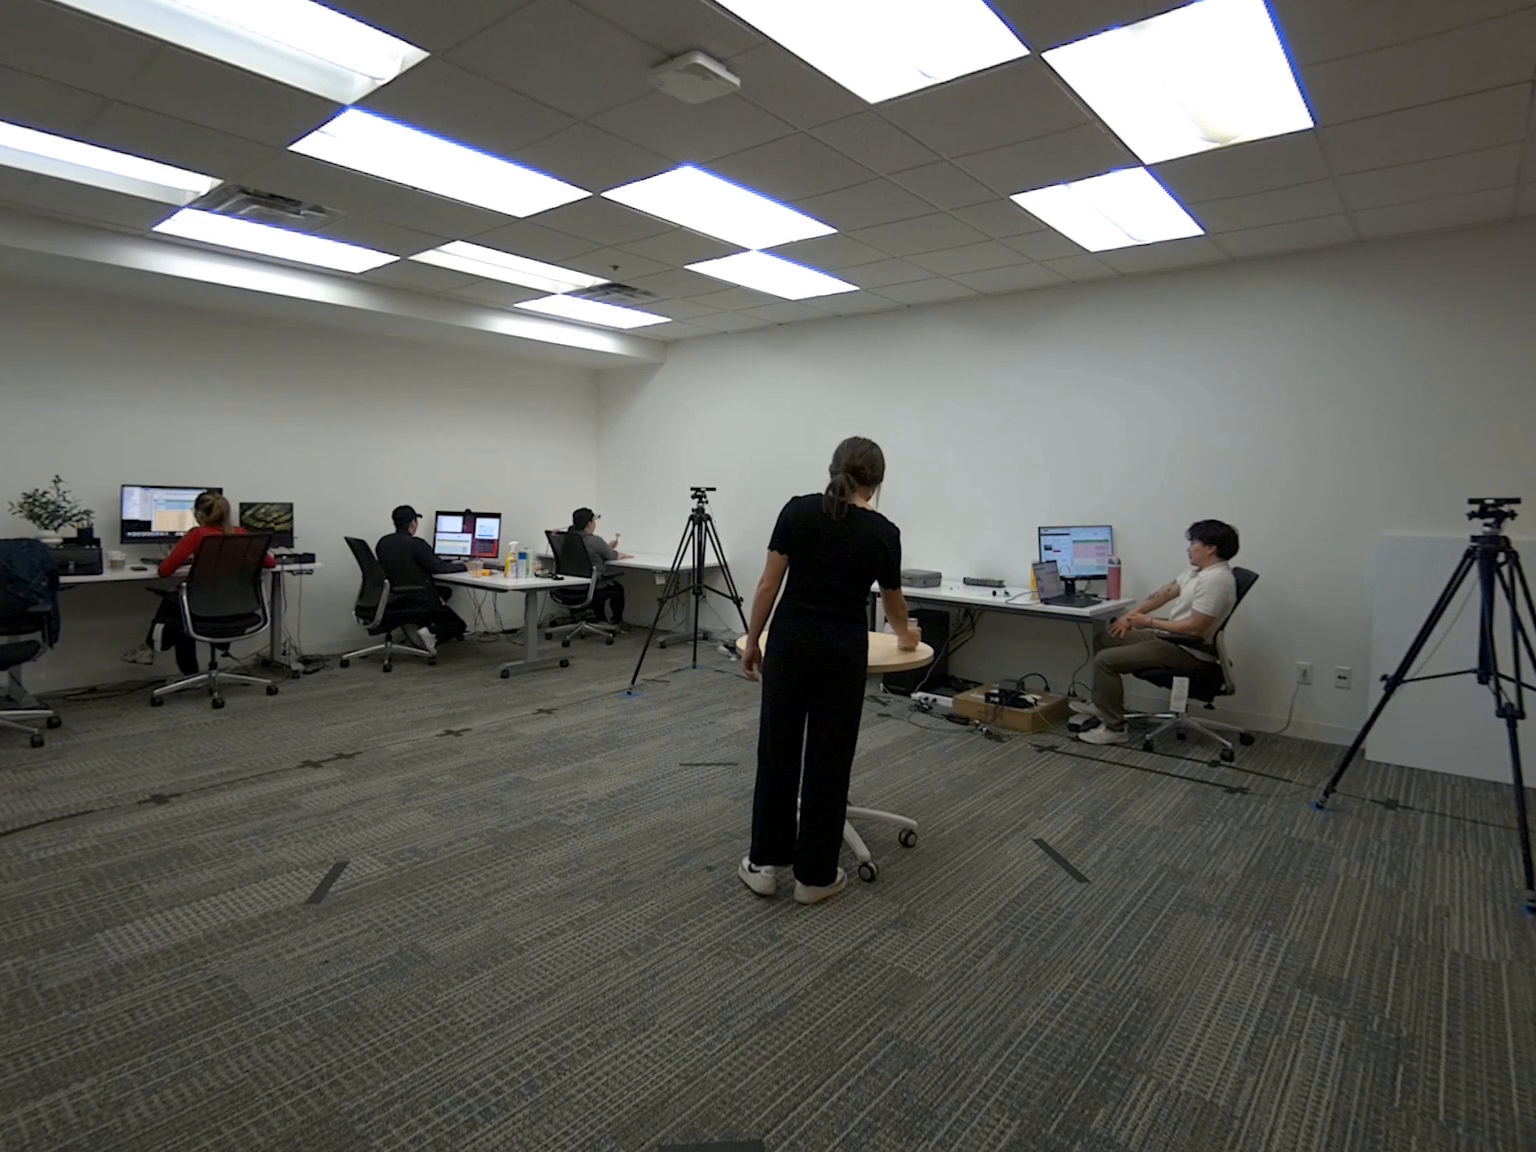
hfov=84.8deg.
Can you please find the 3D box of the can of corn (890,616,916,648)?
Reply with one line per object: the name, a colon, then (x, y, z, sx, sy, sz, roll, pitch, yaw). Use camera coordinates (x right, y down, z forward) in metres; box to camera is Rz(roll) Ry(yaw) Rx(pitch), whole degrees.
can of corn: (0.524, 0.216, 3.280, 0.074, 0.110, 0.074, 3, 4, -2)
